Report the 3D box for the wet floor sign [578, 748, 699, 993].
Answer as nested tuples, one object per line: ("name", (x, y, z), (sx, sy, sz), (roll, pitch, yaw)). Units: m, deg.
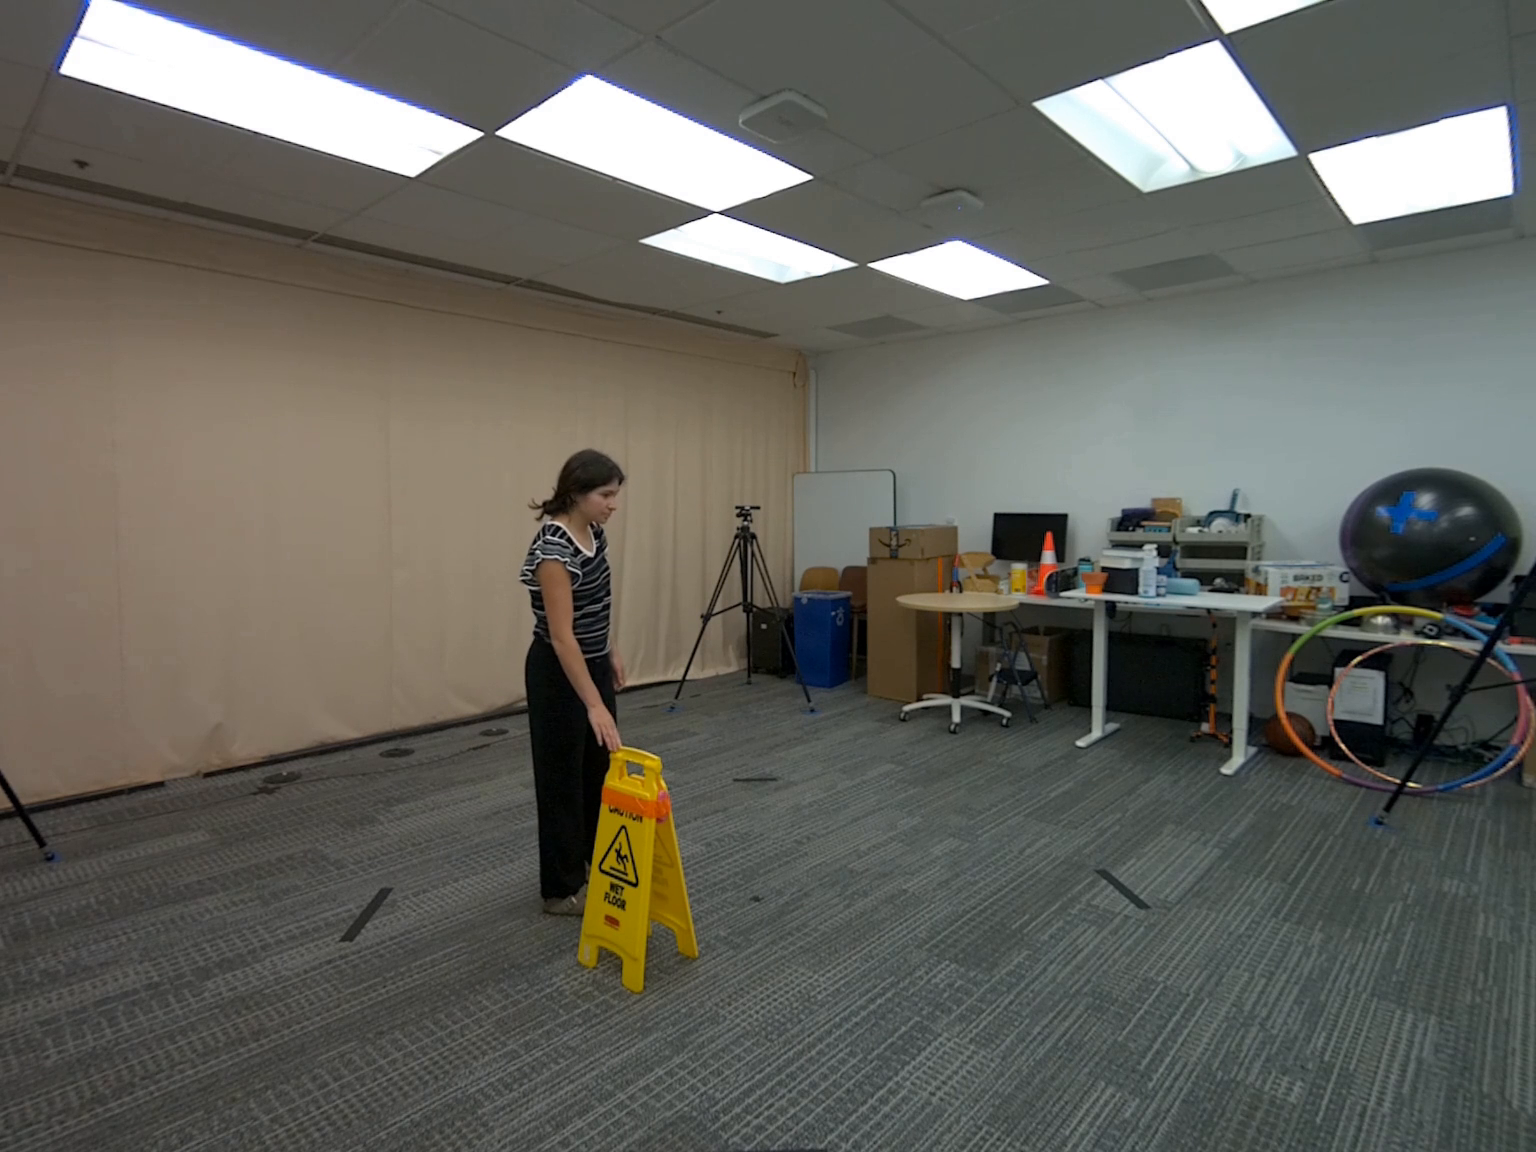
("wet floor sign", (-0.401, 0.858, 2.566), (0.291, 0.645, 0.281), (2, 4, 39))
